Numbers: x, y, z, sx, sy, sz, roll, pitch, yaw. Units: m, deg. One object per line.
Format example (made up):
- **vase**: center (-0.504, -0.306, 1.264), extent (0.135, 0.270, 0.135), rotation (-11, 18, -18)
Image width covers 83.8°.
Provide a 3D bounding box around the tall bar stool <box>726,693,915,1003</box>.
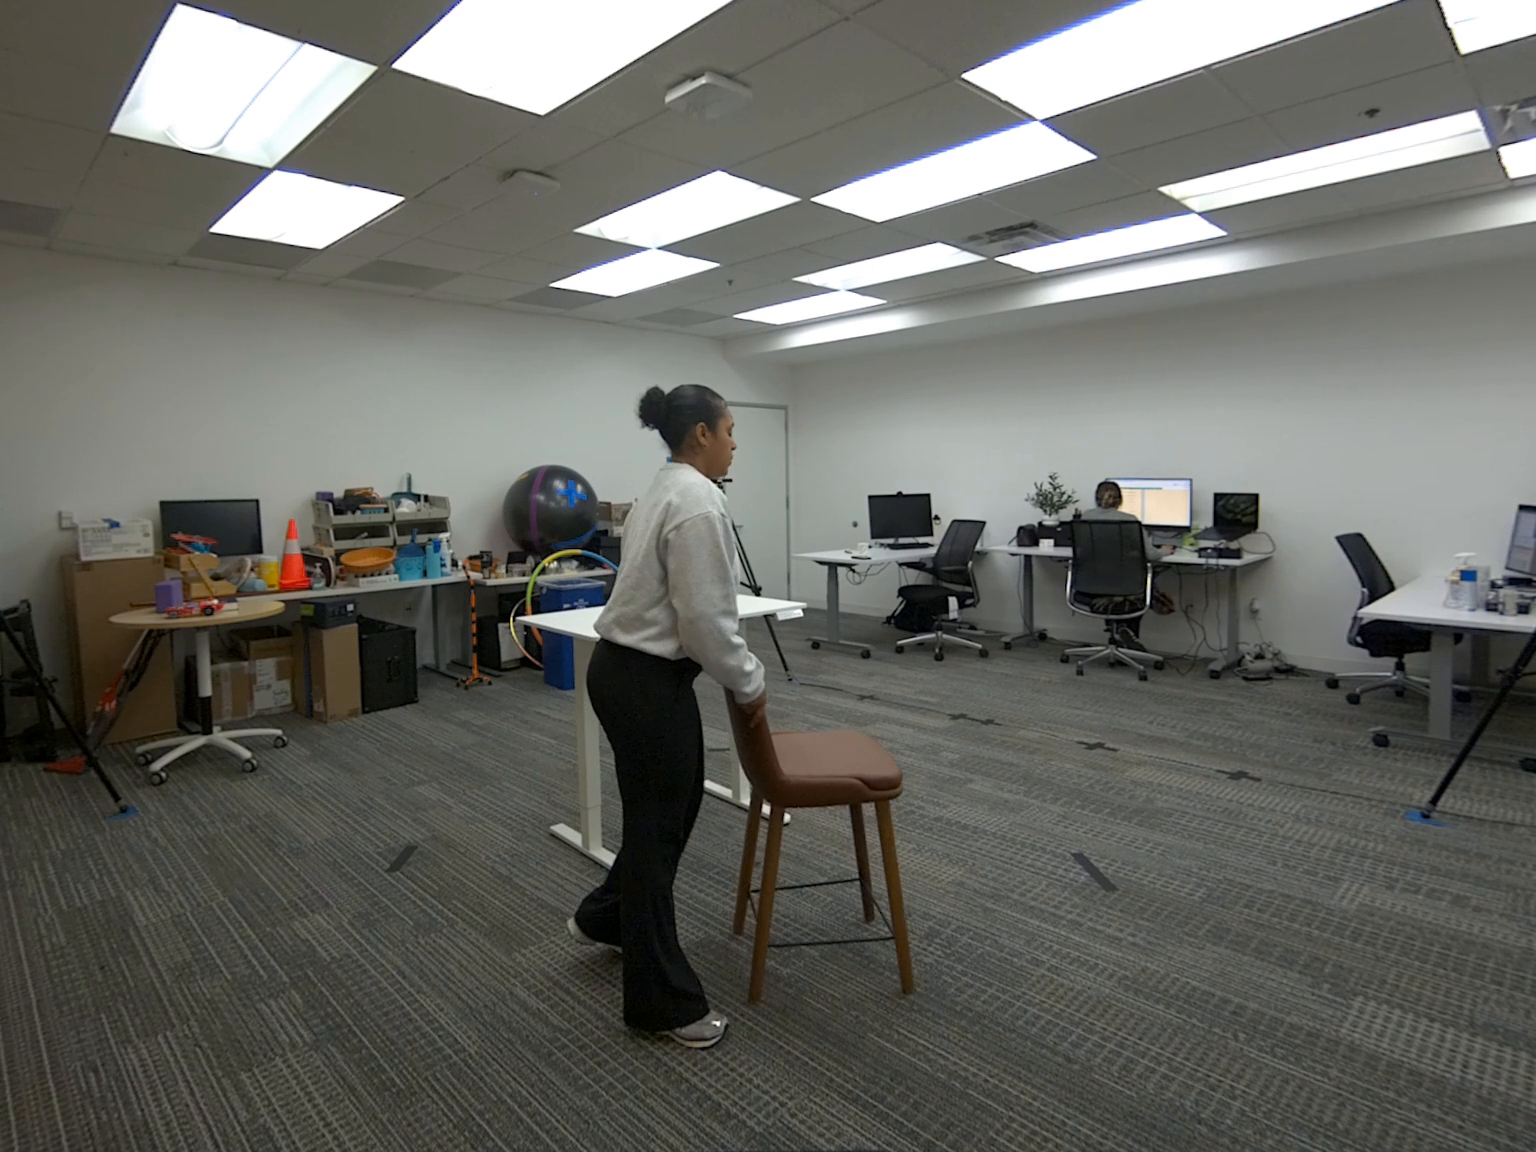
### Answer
- **tall bar stool**: center (0.128, 0.679, 2.461), extent (0.465, 0.886, 0.461), rotation (-4, 4, -7)
